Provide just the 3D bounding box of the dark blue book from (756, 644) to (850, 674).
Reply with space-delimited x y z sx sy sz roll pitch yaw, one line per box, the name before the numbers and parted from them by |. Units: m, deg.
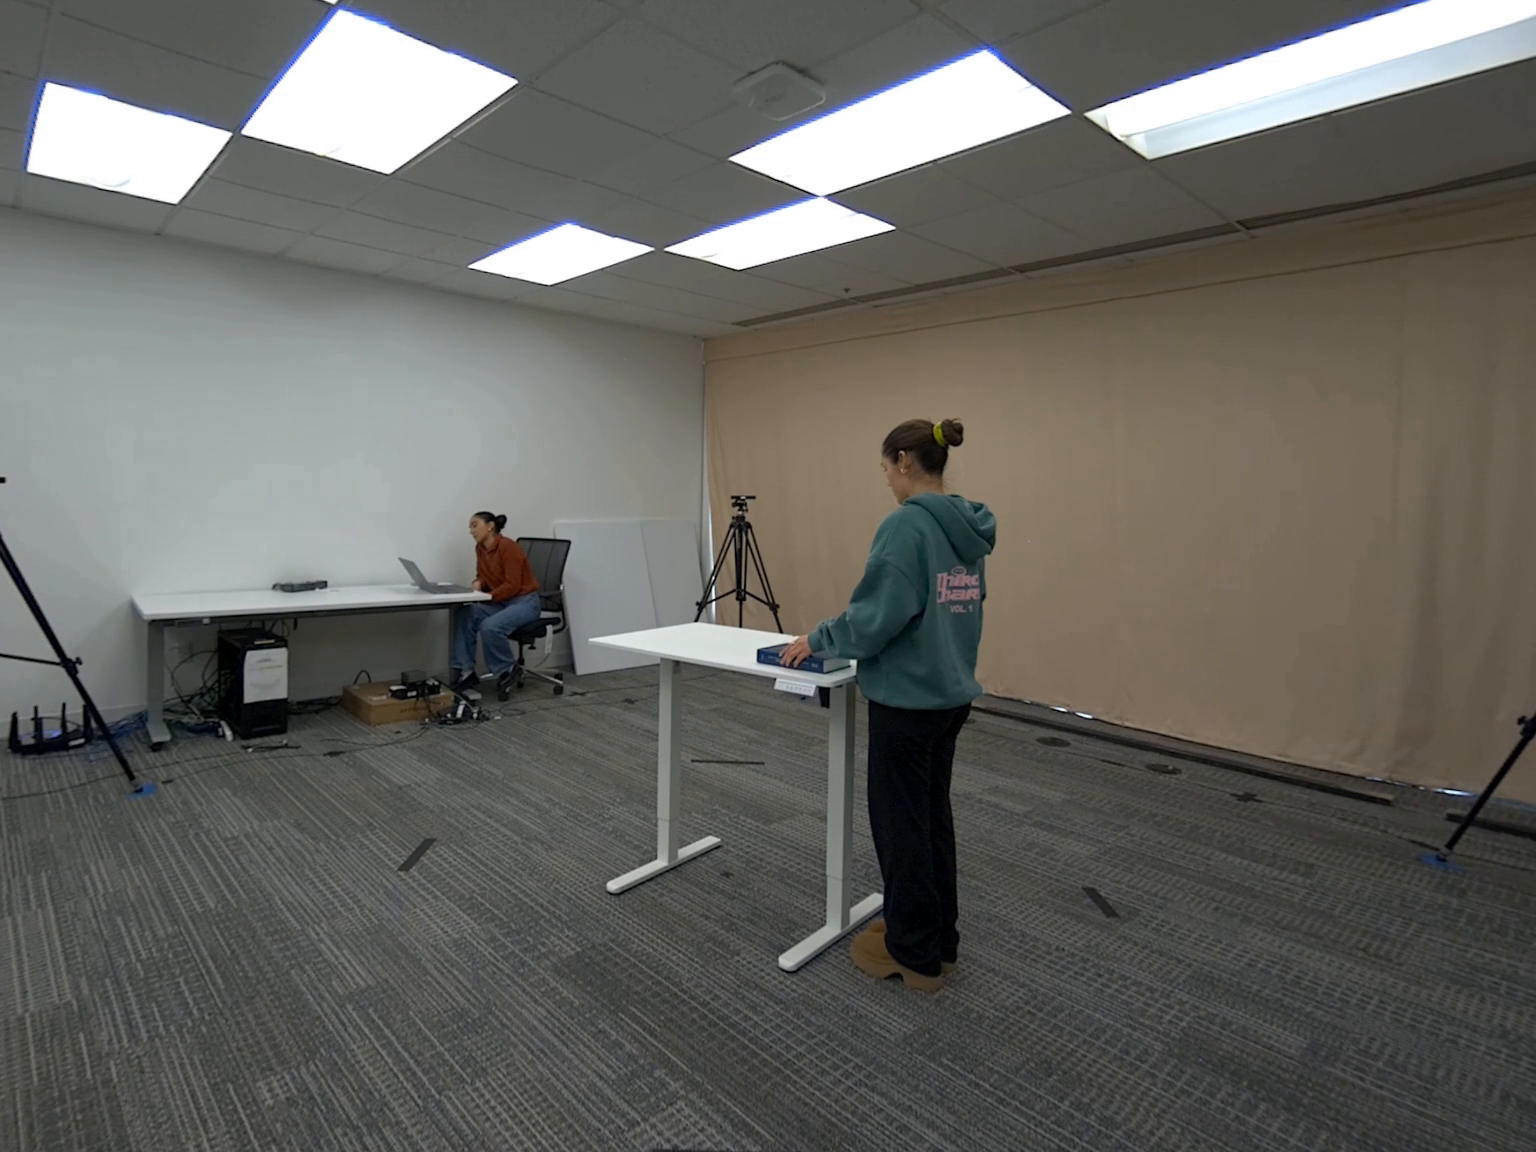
dark blue book | 0.102 0.254 2.582 0.251 0.045 0.160 6 7 34
